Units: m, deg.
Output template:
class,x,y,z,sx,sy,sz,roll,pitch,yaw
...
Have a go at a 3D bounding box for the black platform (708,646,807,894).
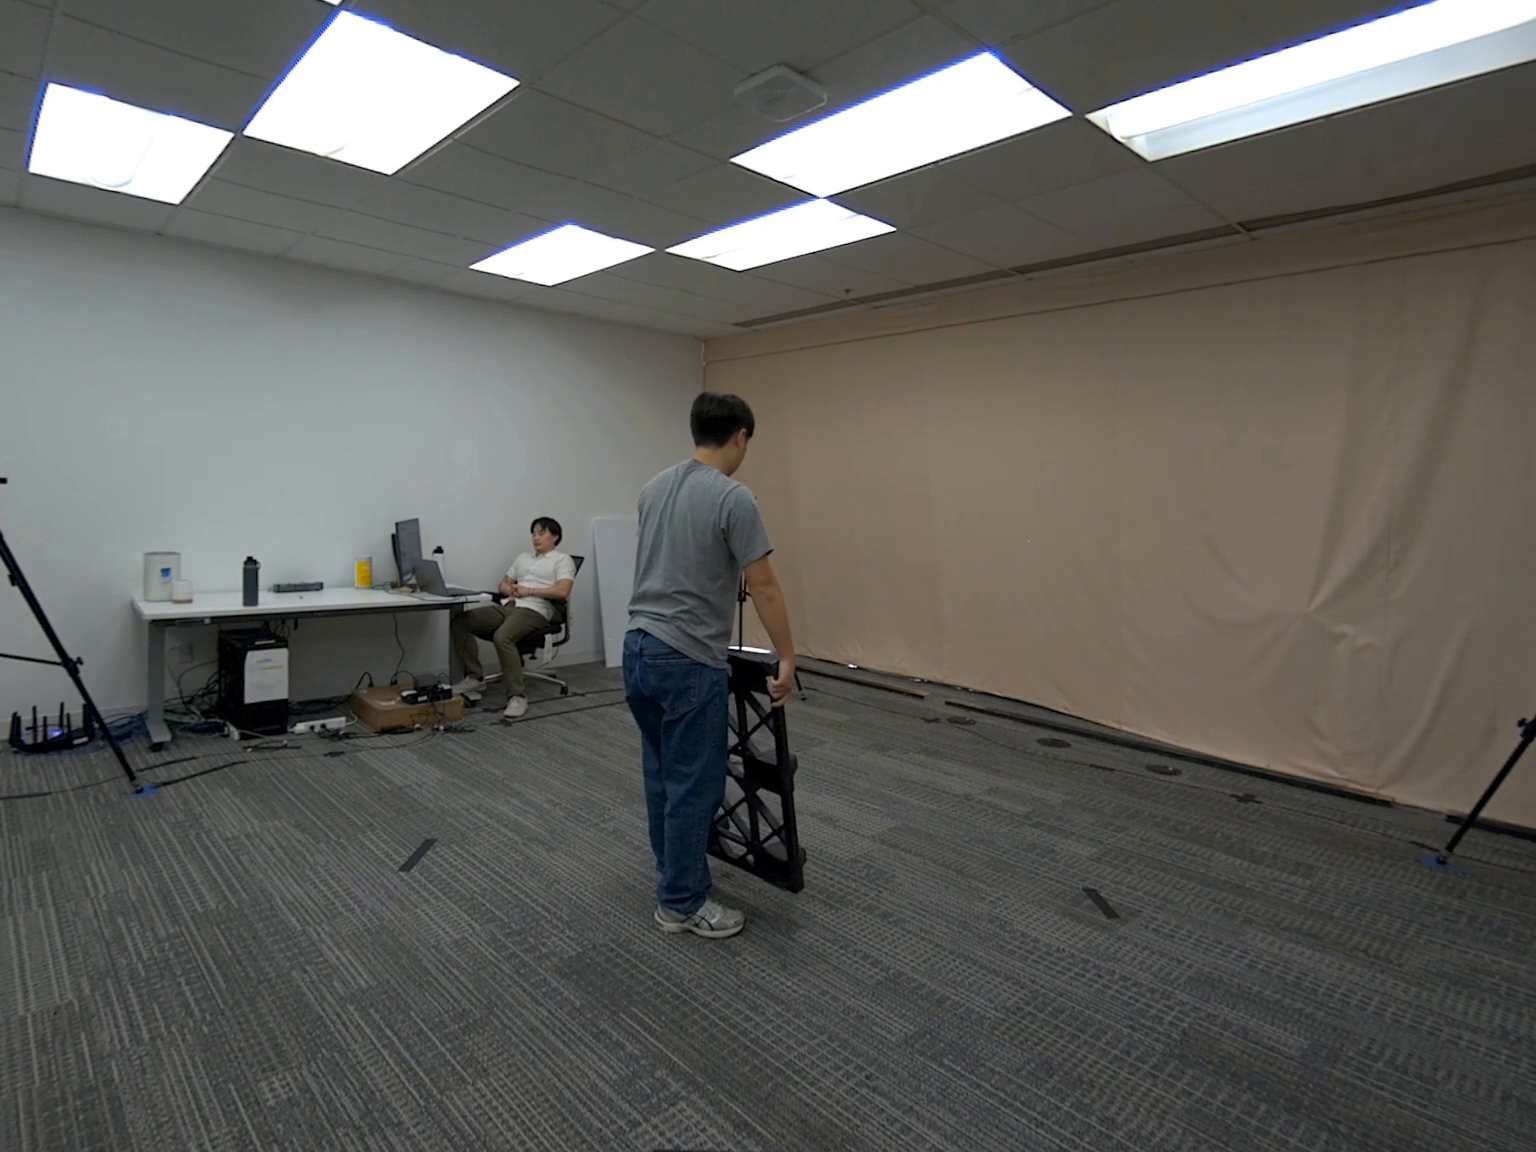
class,x,y,z,sx,sy,sz,roll,pitch,yaw
black platform,-0.133,0.628,2.930,0.621,0.798,0.141,6,15,44
